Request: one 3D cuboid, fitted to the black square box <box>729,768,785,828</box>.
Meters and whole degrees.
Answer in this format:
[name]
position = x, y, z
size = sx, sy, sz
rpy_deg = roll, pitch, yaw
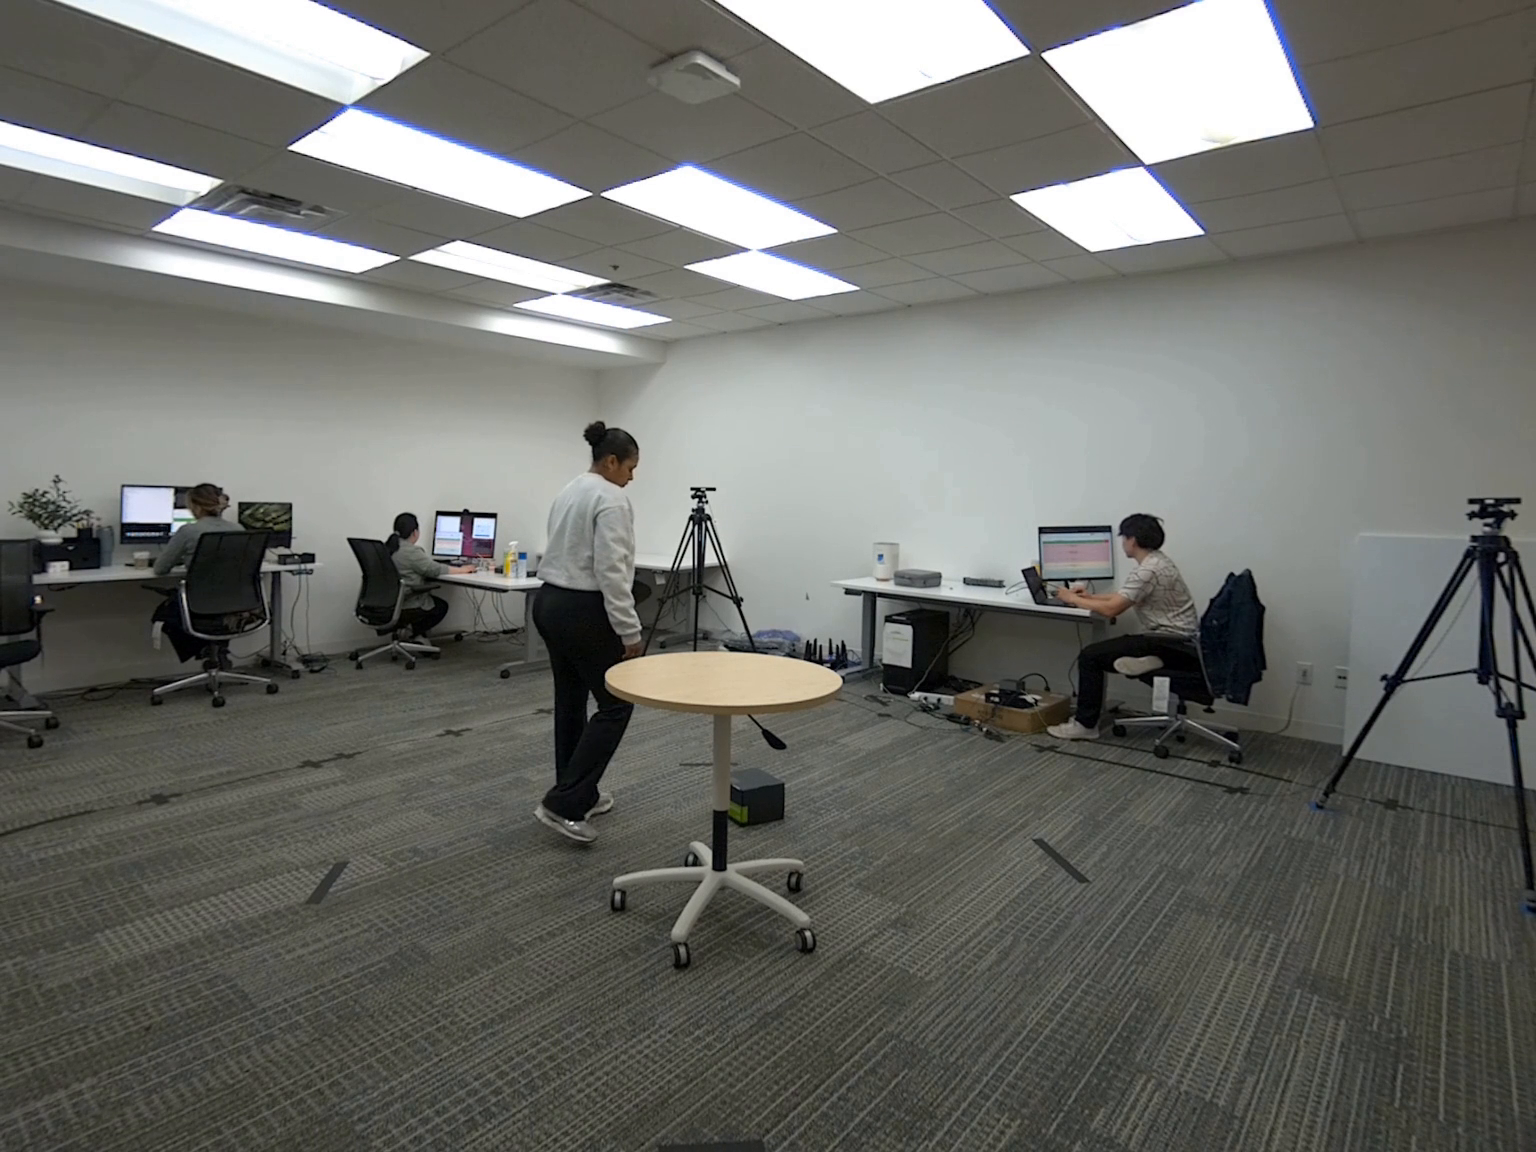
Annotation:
[black square box]
position = -0.086, 0.941, 3.627
size = 0.211, 0.155, 0.235
rpy_deg = 0, 5, -32
